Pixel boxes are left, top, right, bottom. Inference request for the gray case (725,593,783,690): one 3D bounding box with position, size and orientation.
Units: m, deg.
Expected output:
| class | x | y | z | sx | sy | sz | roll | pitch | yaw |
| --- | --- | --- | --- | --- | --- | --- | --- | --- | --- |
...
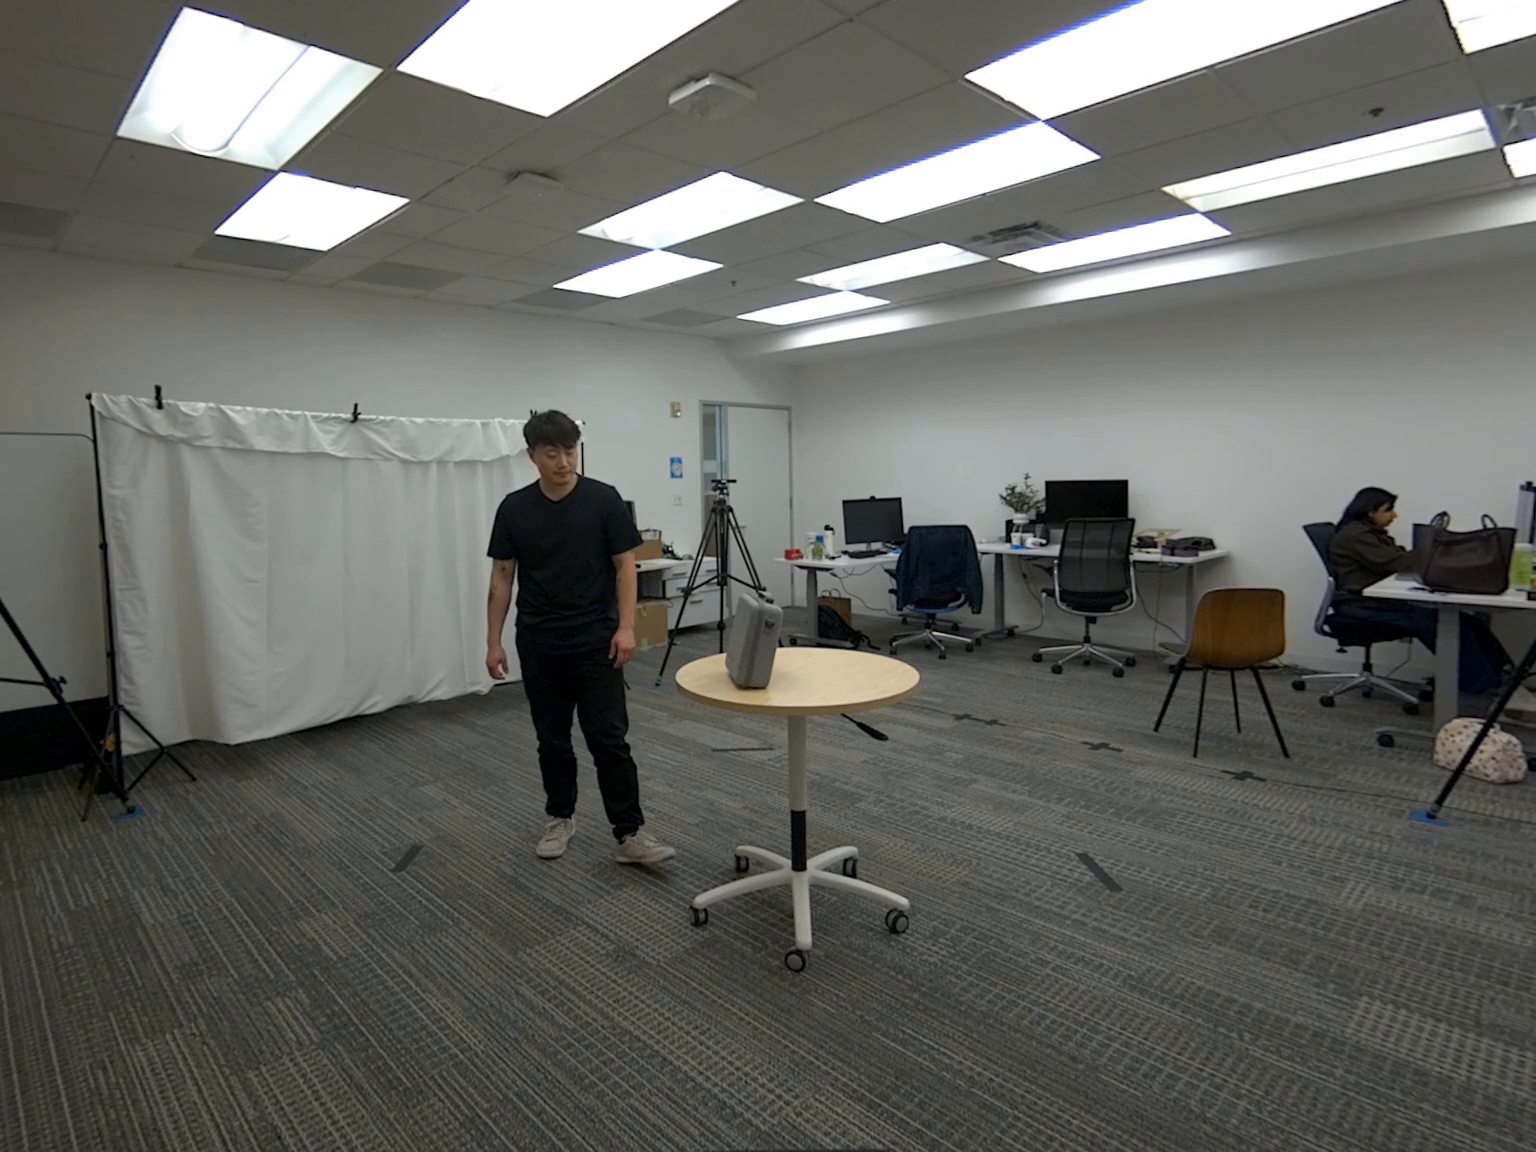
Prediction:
| class | x | y | z | sx | sy | sz | roll | pitch | yaw |
| --- | --- | --- | --- | --- | --- | --- | --- | --- | --- |
| gray case | -0.042 | 0.191 | 2.620 | 0.103 | 0.260 | 0.260 | 8 | 5 | -9 |
